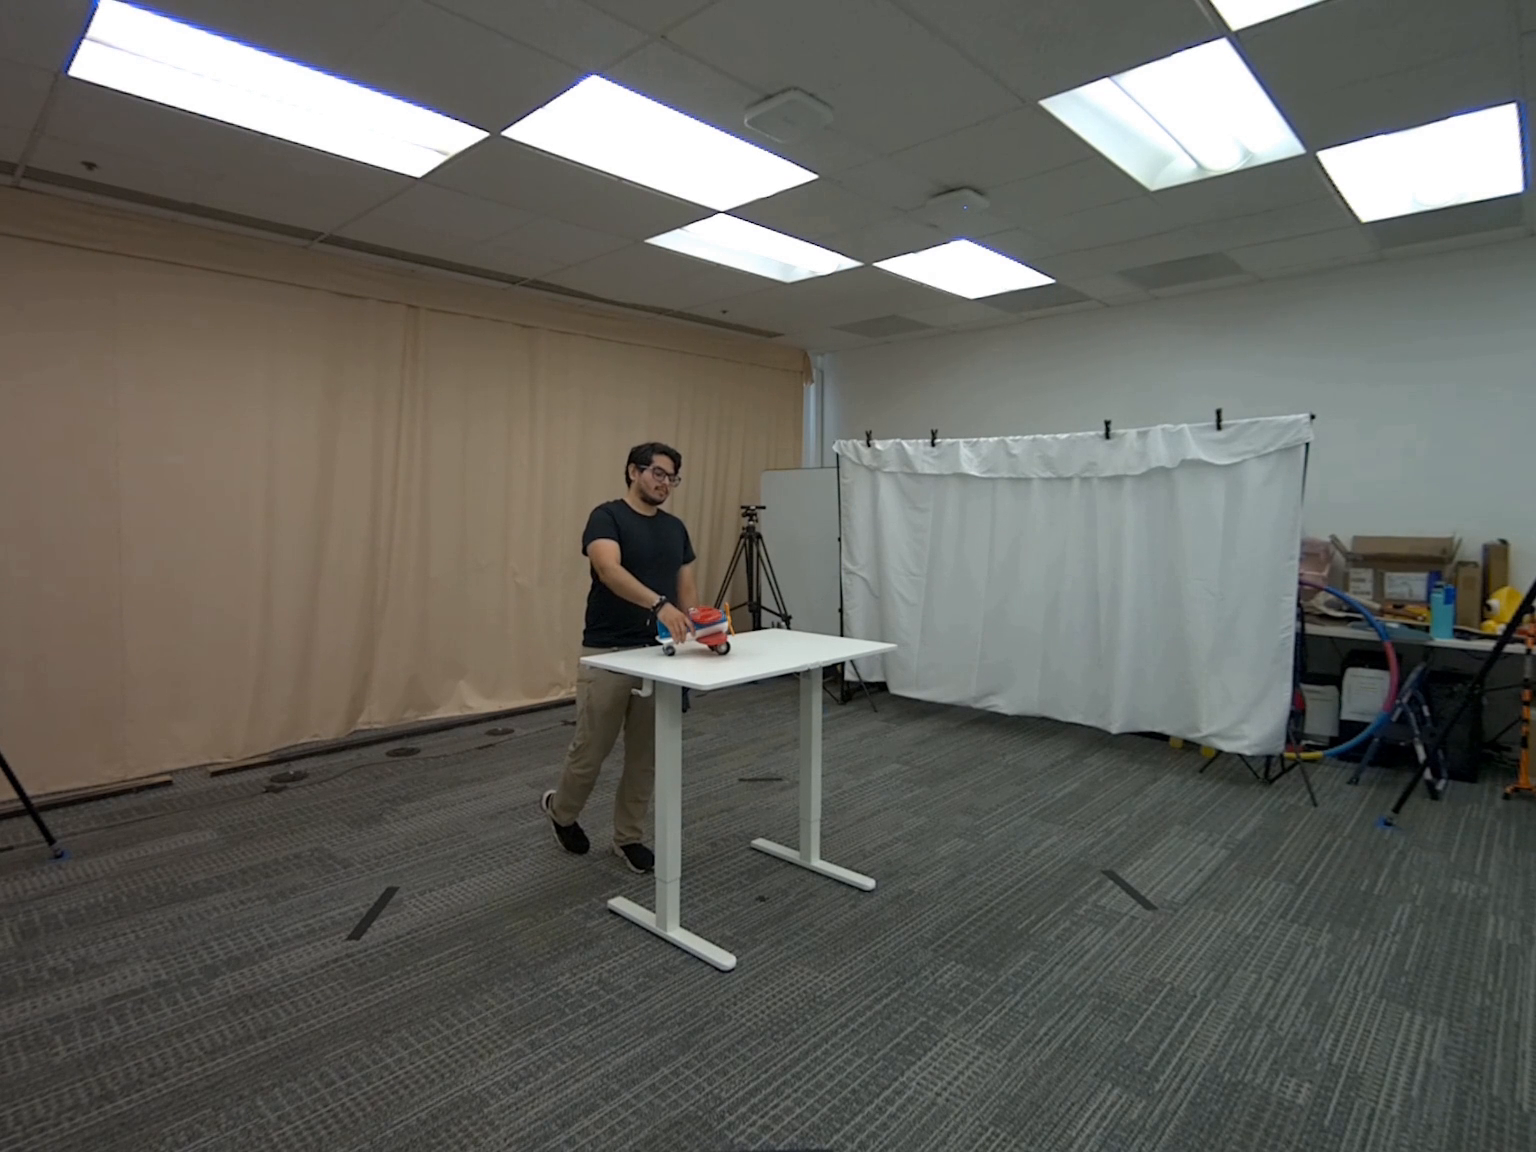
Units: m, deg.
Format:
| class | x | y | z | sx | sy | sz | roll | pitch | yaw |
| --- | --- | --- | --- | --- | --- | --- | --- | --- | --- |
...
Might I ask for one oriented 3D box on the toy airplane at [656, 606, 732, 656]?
| class | x | y | z | sx | sy | sz | roll | pitch | yaw |
| --- | --- | --- | --- | --- | --- | --- | --- | --- | --- |
| toy airplane | -0.235 | 0.190 | 2.861 | 0.259 | 0.156 | 0.251 | 4 | 4 | 42 |
